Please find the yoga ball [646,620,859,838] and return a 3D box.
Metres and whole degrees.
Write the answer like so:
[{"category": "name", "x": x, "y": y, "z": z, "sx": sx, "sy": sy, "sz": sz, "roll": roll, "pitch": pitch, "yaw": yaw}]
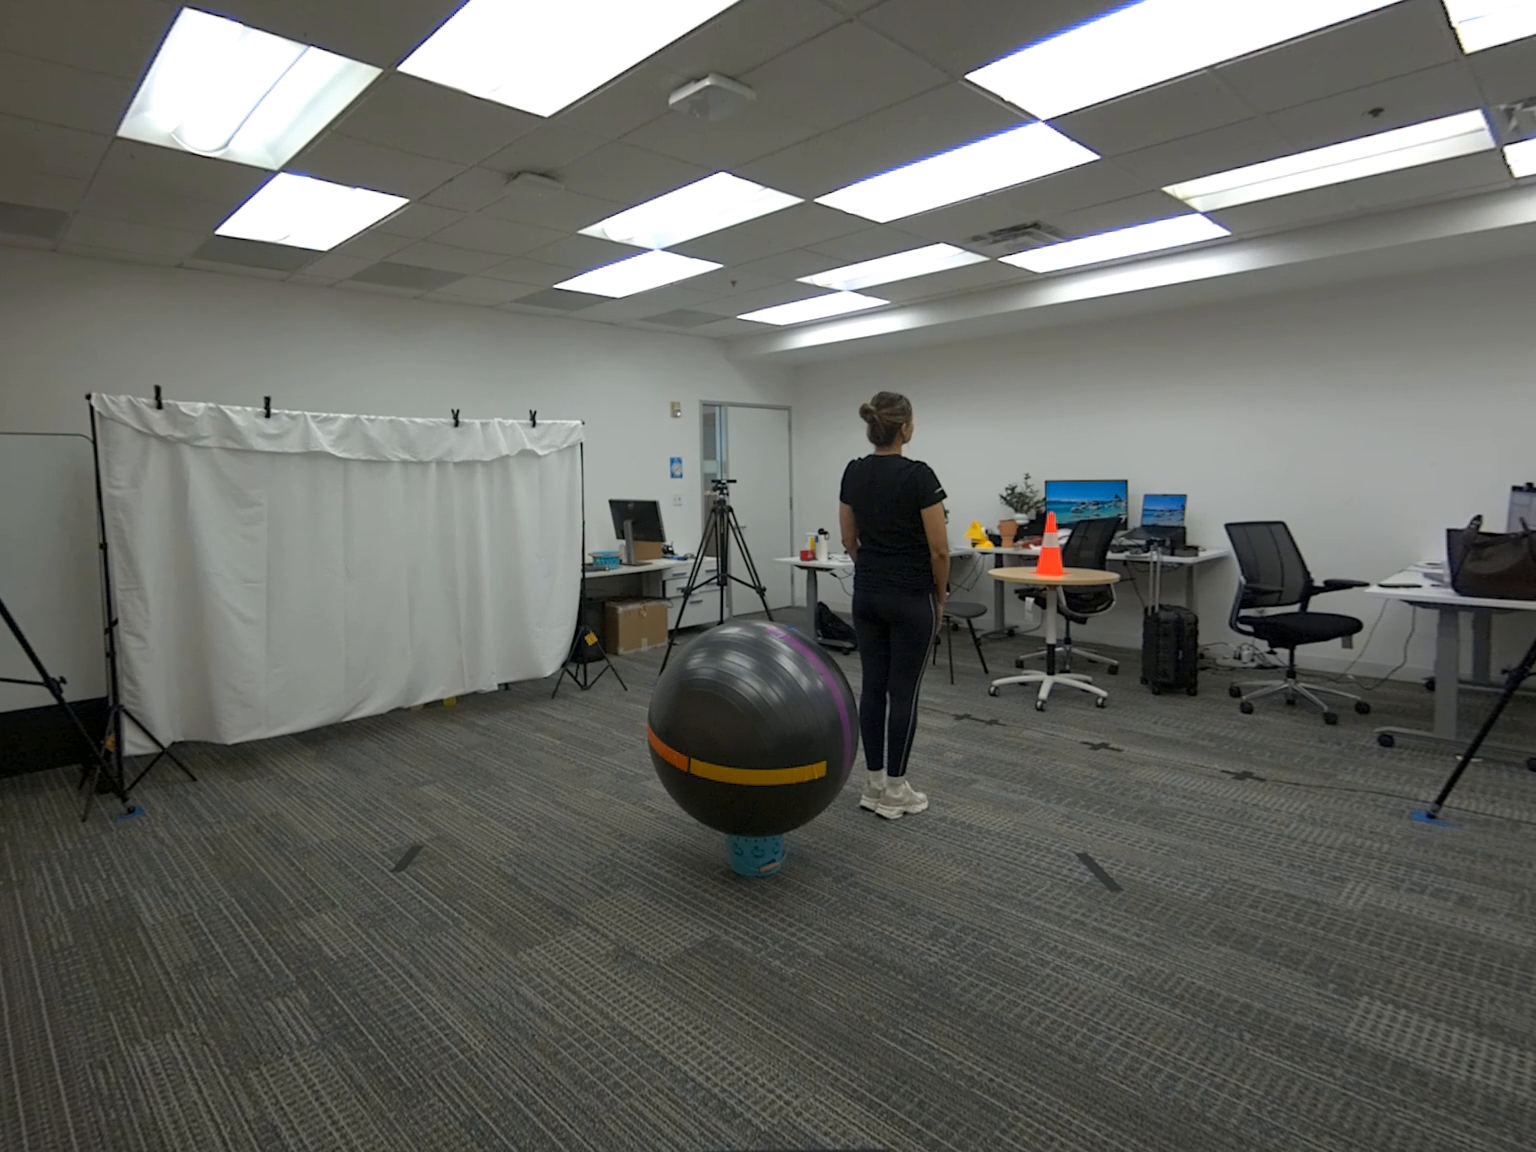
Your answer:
[{"category": "yoga ball", "x": -0.055, "y": 0.538, "z": 3.074, "sx": 0.757, "sy": 0.755, "sz": 0.762, "roll": -1, "pitch": 5, "yaw": -2}]
